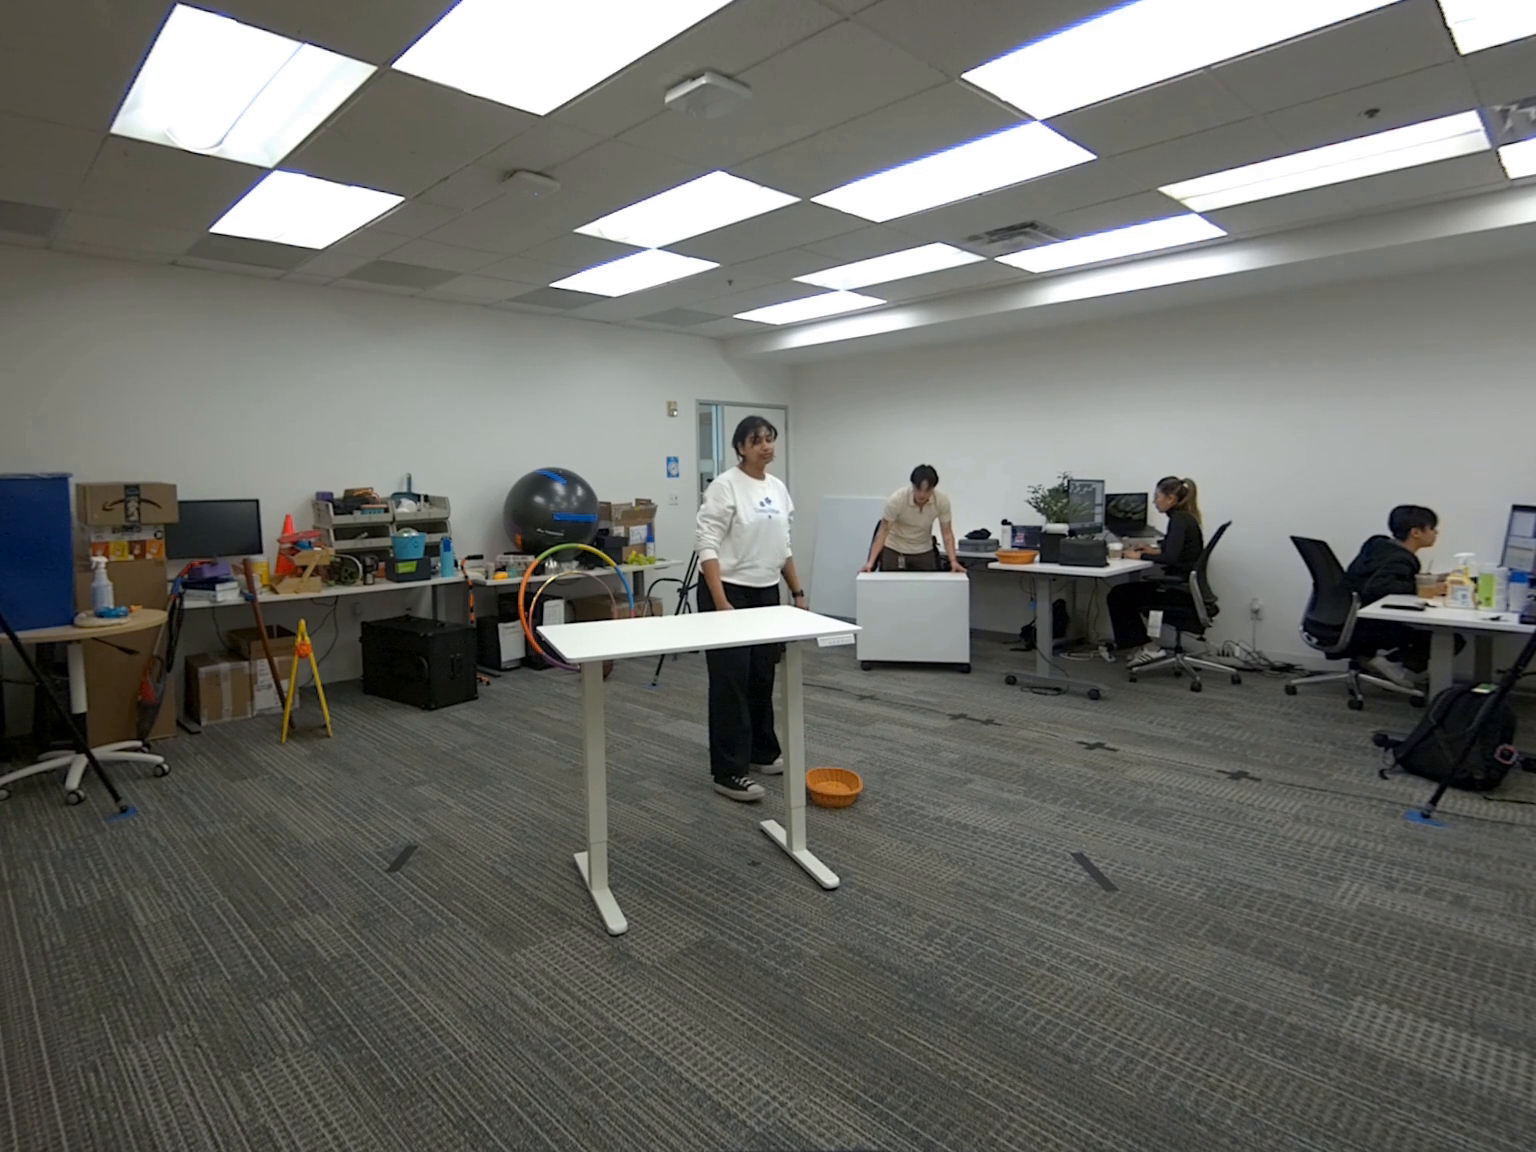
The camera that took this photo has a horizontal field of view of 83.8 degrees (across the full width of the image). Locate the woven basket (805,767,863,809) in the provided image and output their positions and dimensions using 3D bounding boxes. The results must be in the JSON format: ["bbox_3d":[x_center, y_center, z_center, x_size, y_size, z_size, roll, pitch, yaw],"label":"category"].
[{"bbox_3d":[0.284,0.923,3.758,0.253,0.073,0.351,1,6,2],"label":"woven basket"}]
